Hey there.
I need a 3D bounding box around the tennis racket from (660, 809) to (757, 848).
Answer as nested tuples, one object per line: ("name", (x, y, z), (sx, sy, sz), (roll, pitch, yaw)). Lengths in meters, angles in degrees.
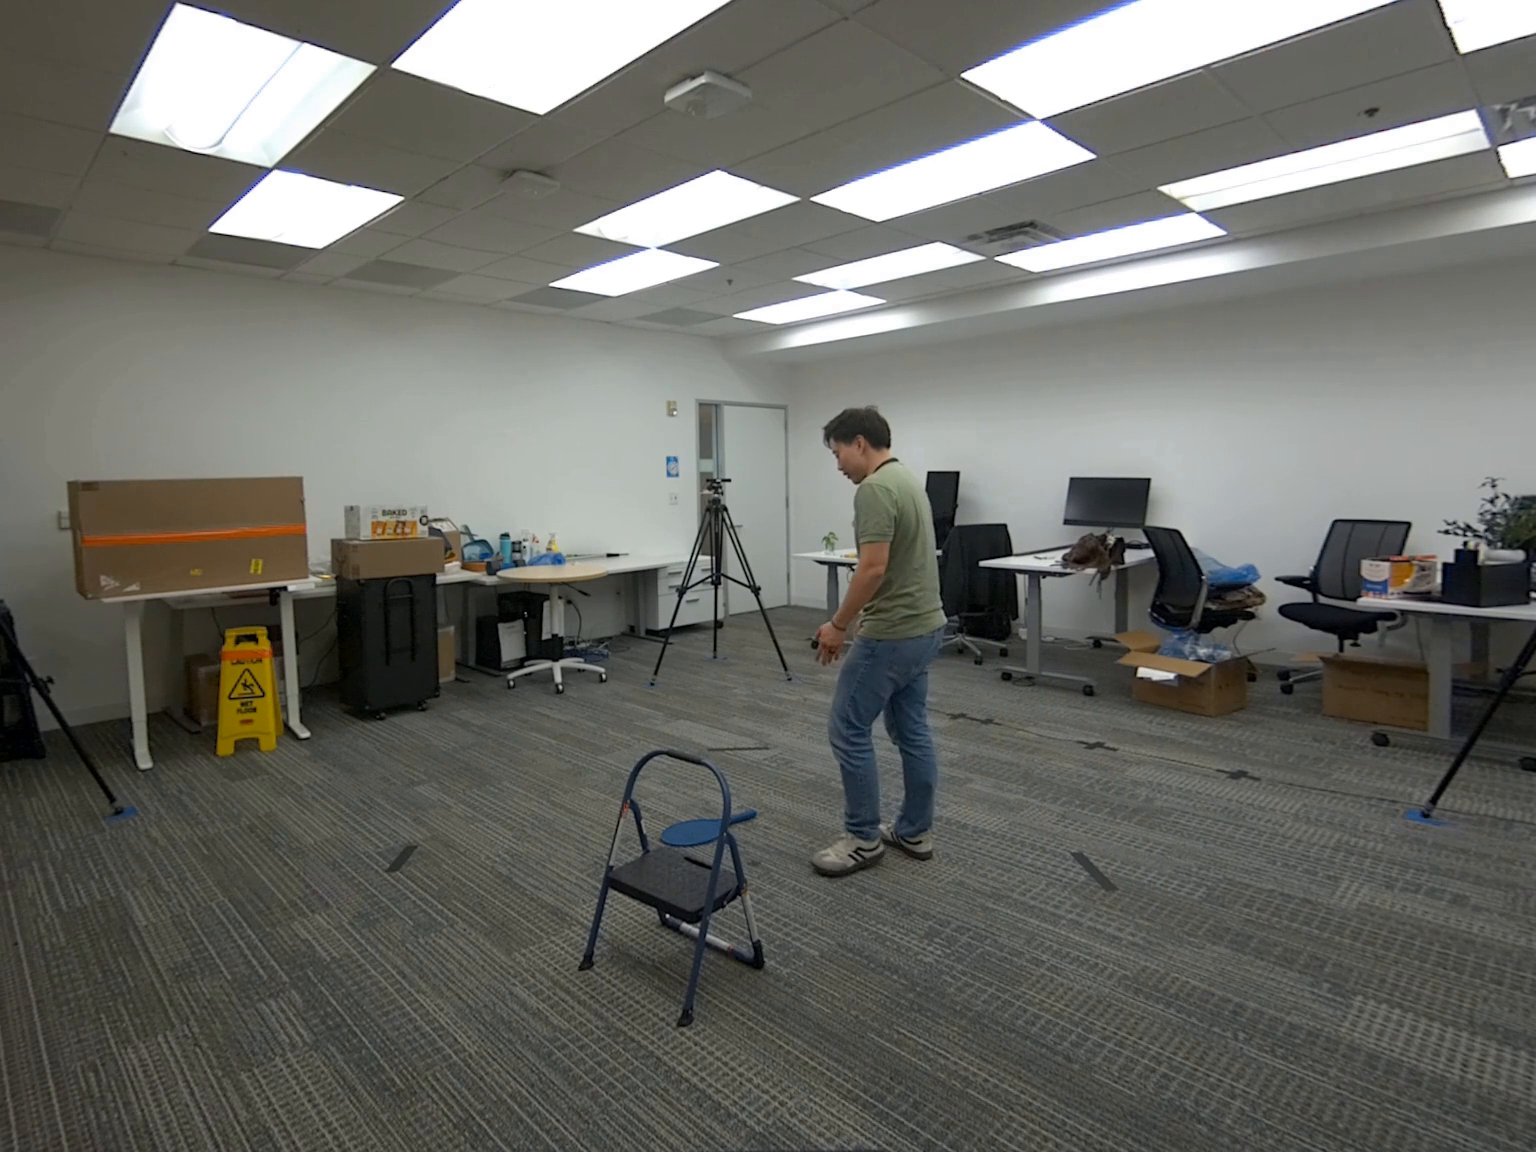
("tennis racket", (-0.232, 1.001, 3.411), (0.422, 0.031, 0.220), (-7, 8, -35))
